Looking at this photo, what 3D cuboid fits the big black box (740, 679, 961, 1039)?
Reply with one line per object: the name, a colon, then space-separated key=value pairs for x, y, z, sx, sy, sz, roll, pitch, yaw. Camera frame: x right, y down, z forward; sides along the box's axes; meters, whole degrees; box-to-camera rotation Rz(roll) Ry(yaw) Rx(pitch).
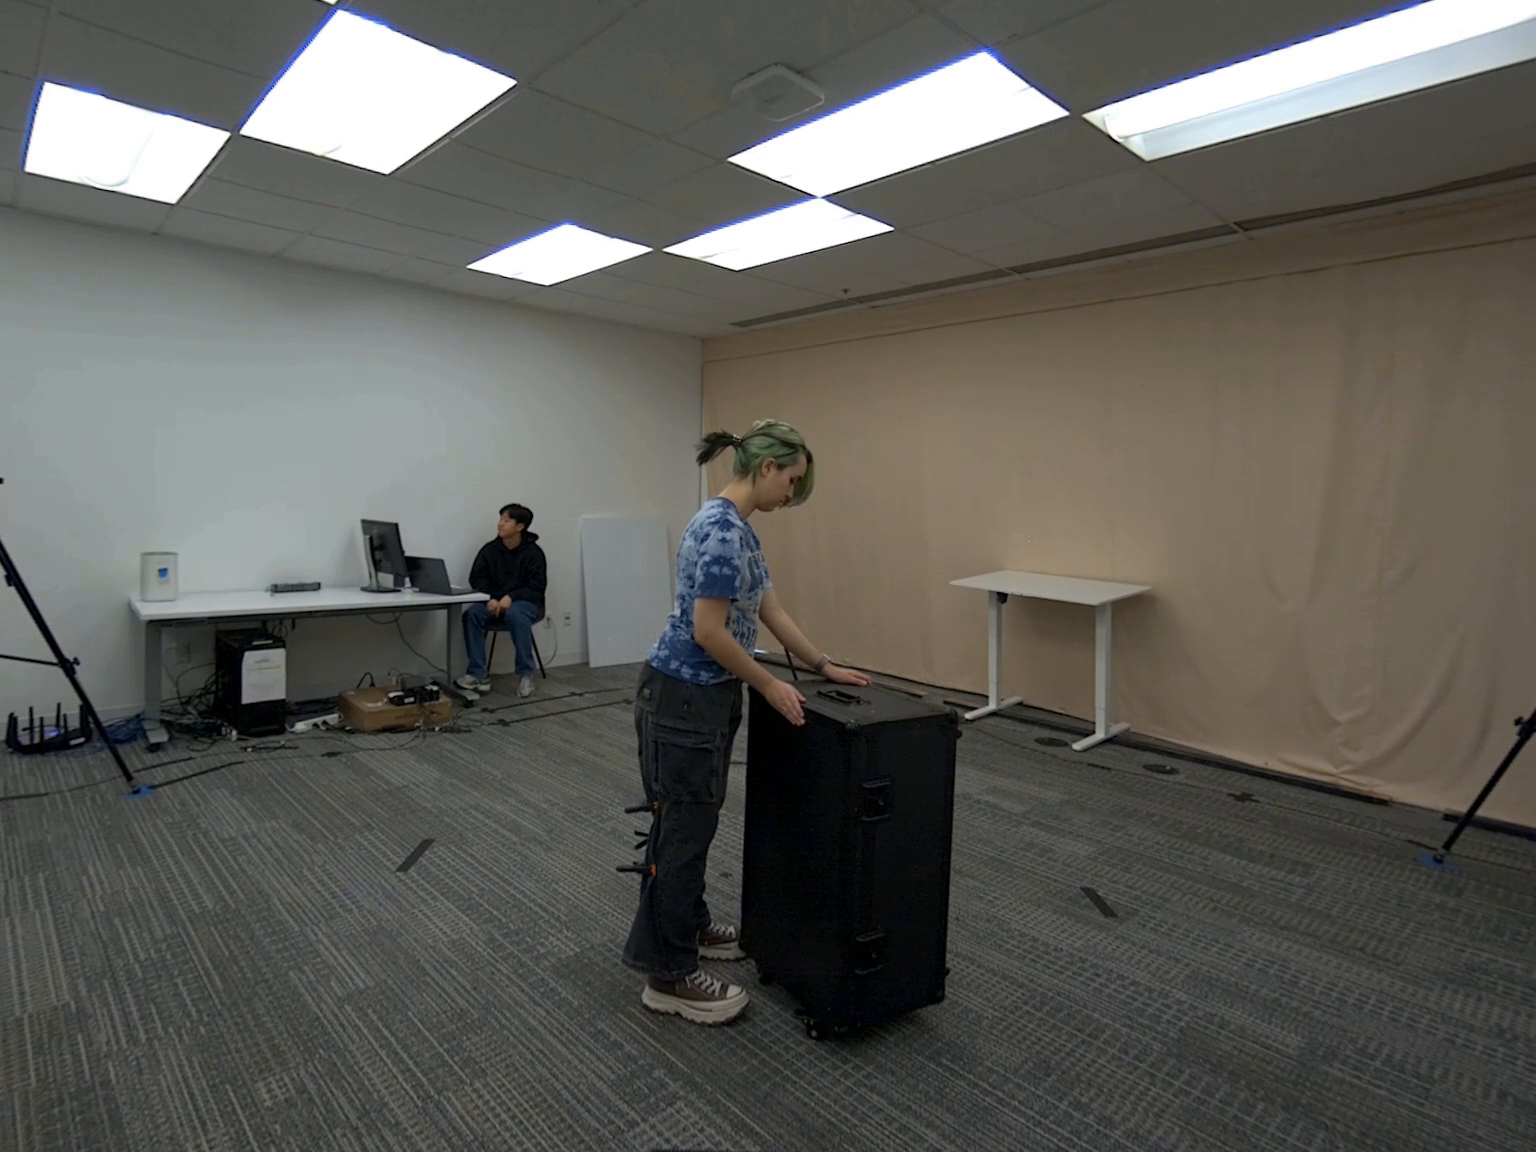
big black box: x=0.212 y=0.763 z=2.343 sx=0.387 sy=0.860 sz=0.533 roll=1 pitch=3 yaw=-33
